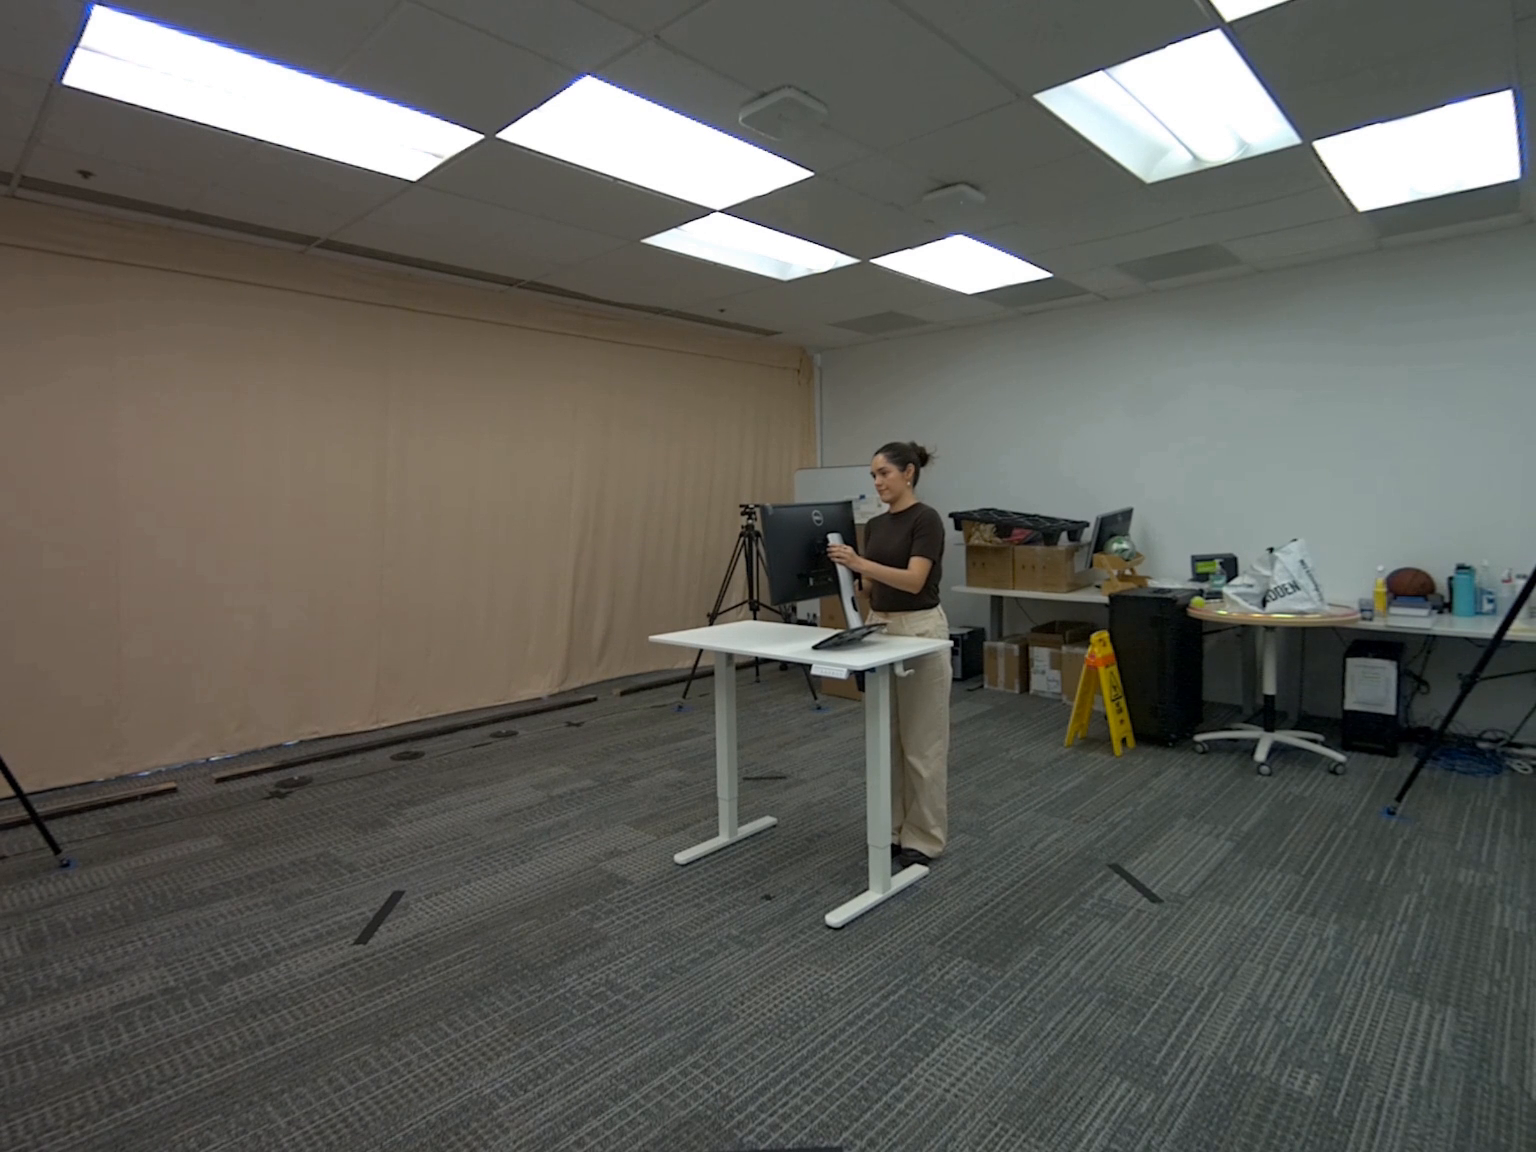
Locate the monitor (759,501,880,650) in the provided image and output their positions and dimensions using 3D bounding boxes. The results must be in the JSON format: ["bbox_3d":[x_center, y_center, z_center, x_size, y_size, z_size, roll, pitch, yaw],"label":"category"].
[{"bbox_3d":[0.225,-0.020,3.032,0.523,0.528,0.191,-6,-16,-47],"label":"monitor"}]
